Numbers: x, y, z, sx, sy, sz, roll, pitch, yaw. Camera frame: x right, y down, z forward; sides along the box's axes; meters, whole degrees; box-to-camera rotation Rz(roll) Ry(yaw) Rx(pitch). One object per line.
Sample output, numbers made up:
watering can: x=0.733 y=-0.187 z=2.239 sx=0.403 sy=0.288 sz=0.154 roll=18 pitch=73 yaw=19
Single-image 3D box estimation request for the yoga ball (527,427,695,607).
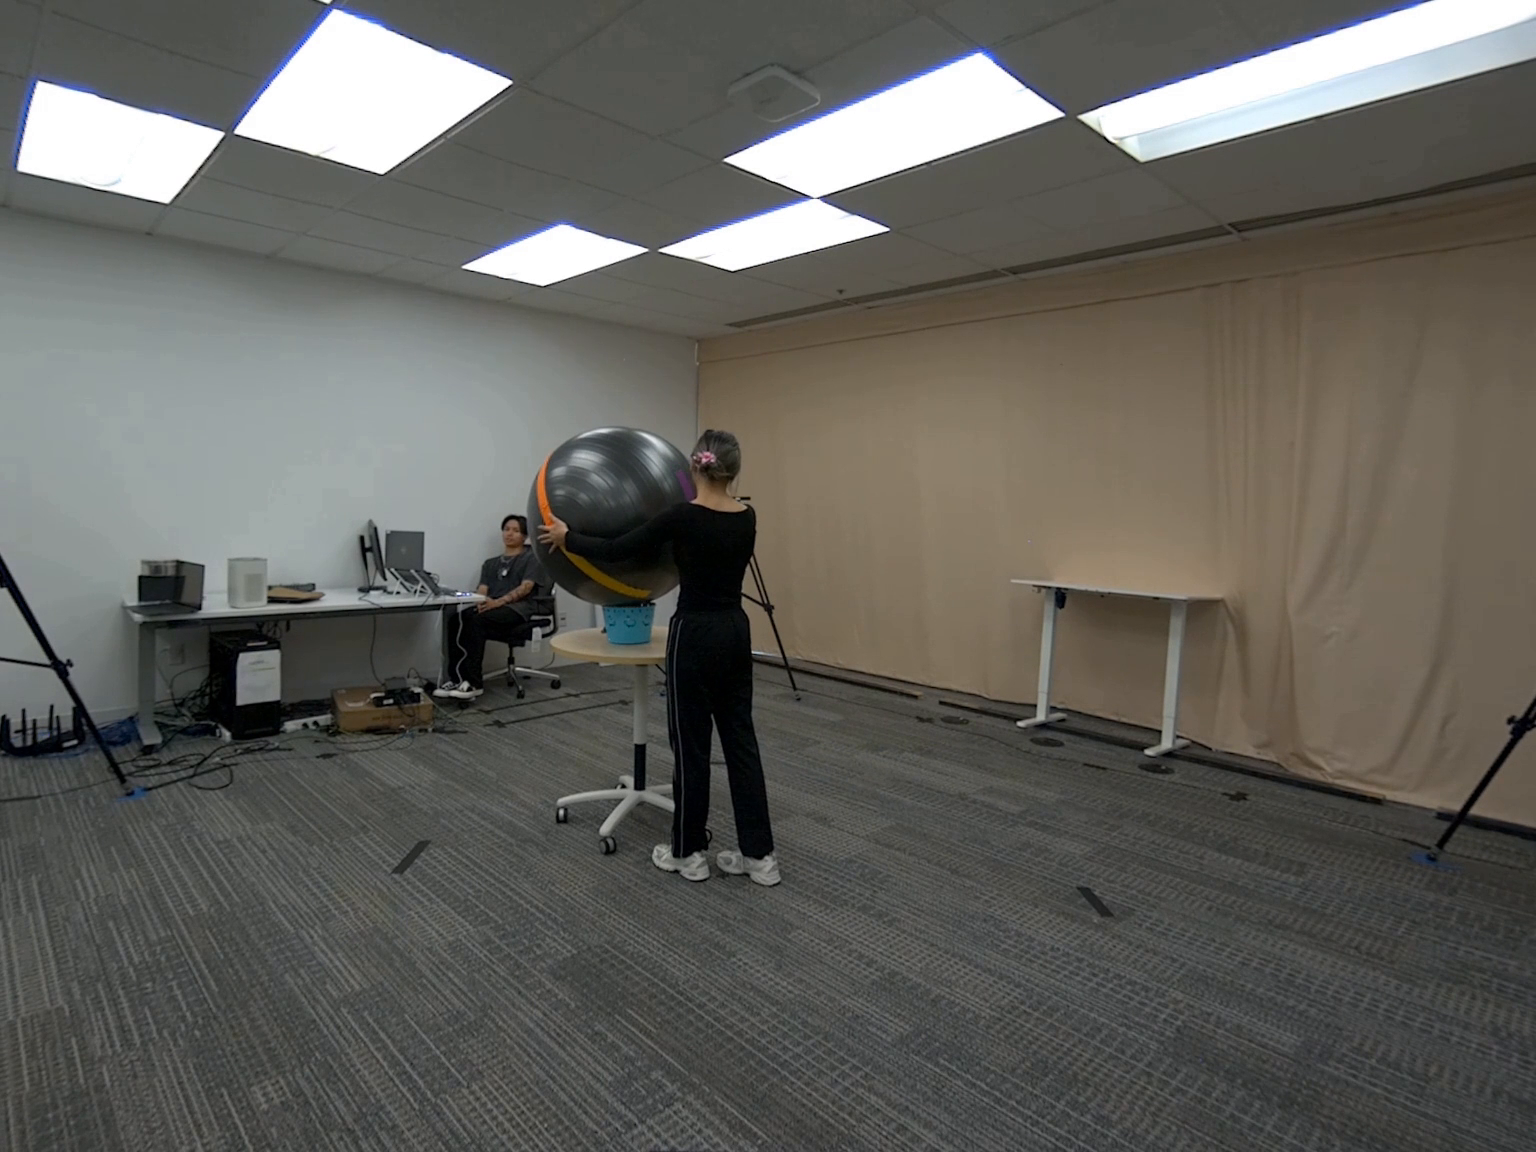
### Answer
yoga ball: x=-0.639 y=-0.247 z=3.551 sx=0.757 sy=0.756 sz=0.761 roll=1 pitch=4 yaw=-1
